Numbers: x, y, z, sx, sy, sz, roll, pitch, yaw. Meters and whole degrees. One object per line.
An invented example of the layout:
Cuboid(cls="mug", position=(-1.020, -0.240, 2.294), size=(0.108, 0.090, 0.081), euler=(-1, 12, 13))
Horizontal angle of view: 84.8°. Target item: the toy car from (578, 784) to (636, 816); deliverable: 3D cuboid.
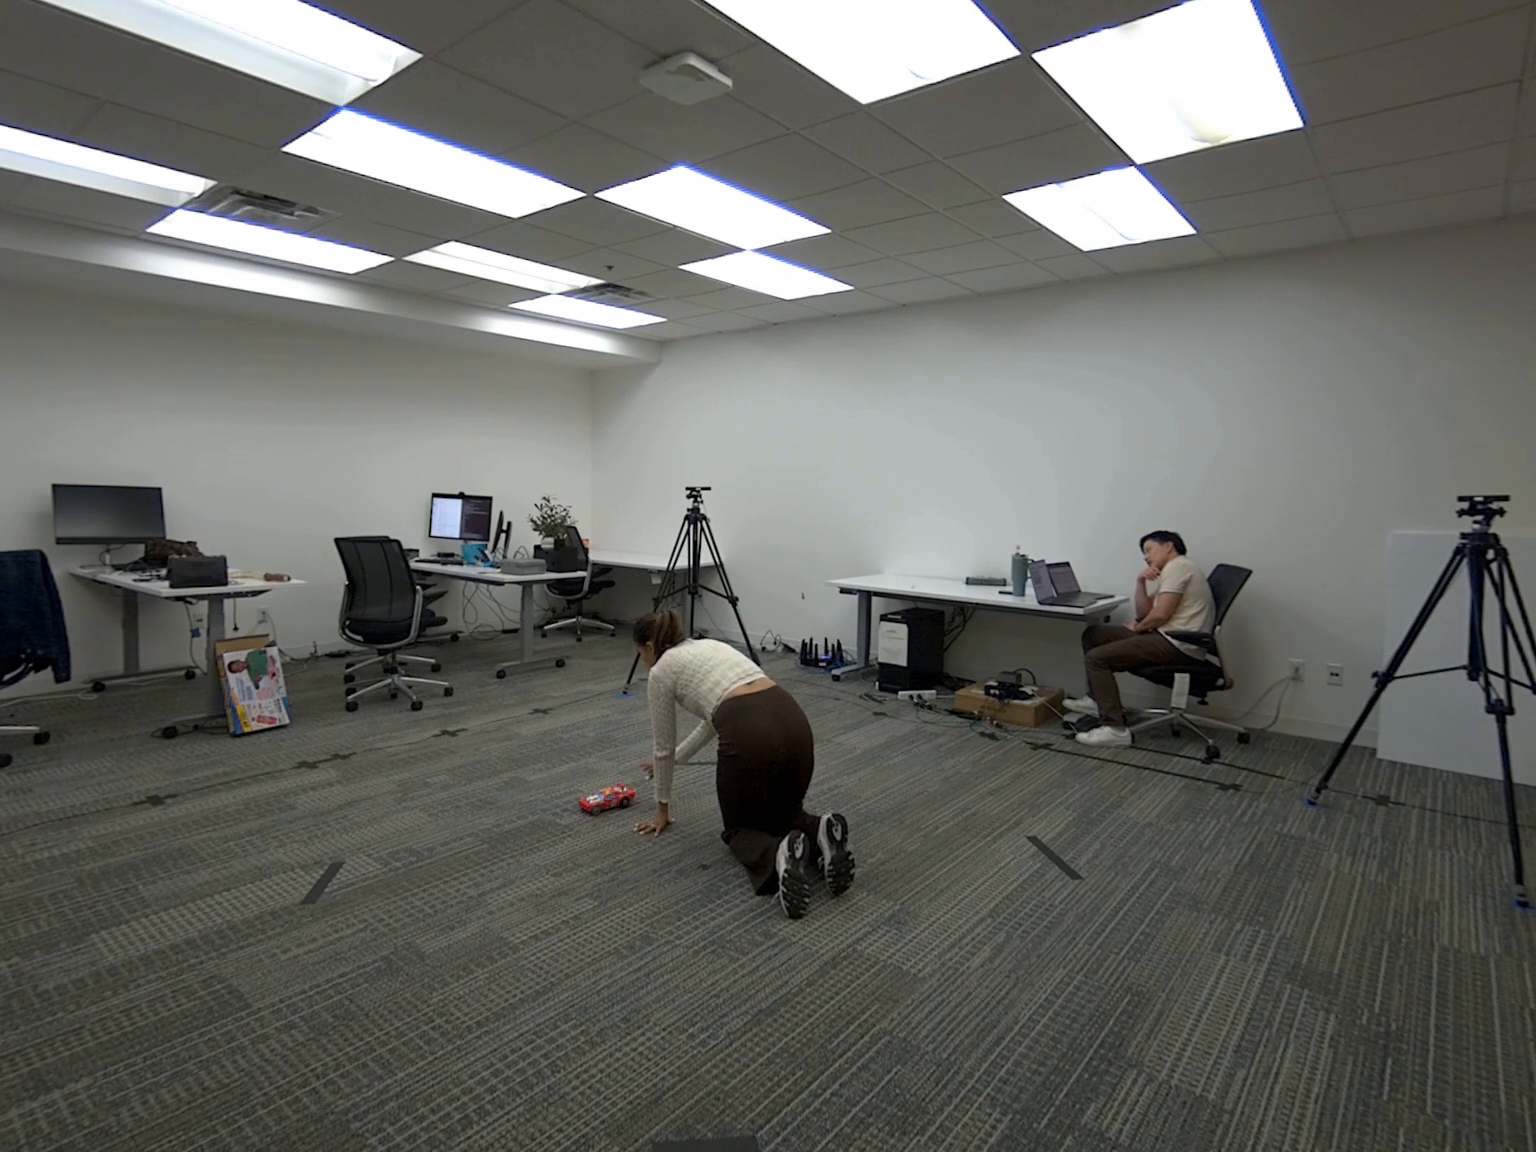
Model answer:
Cuboid(cls="toy car", position=(-0.703, 0.967, 3.697), size=(0.249, 0.082, 0.134), euler=(-18, 15, -37))
